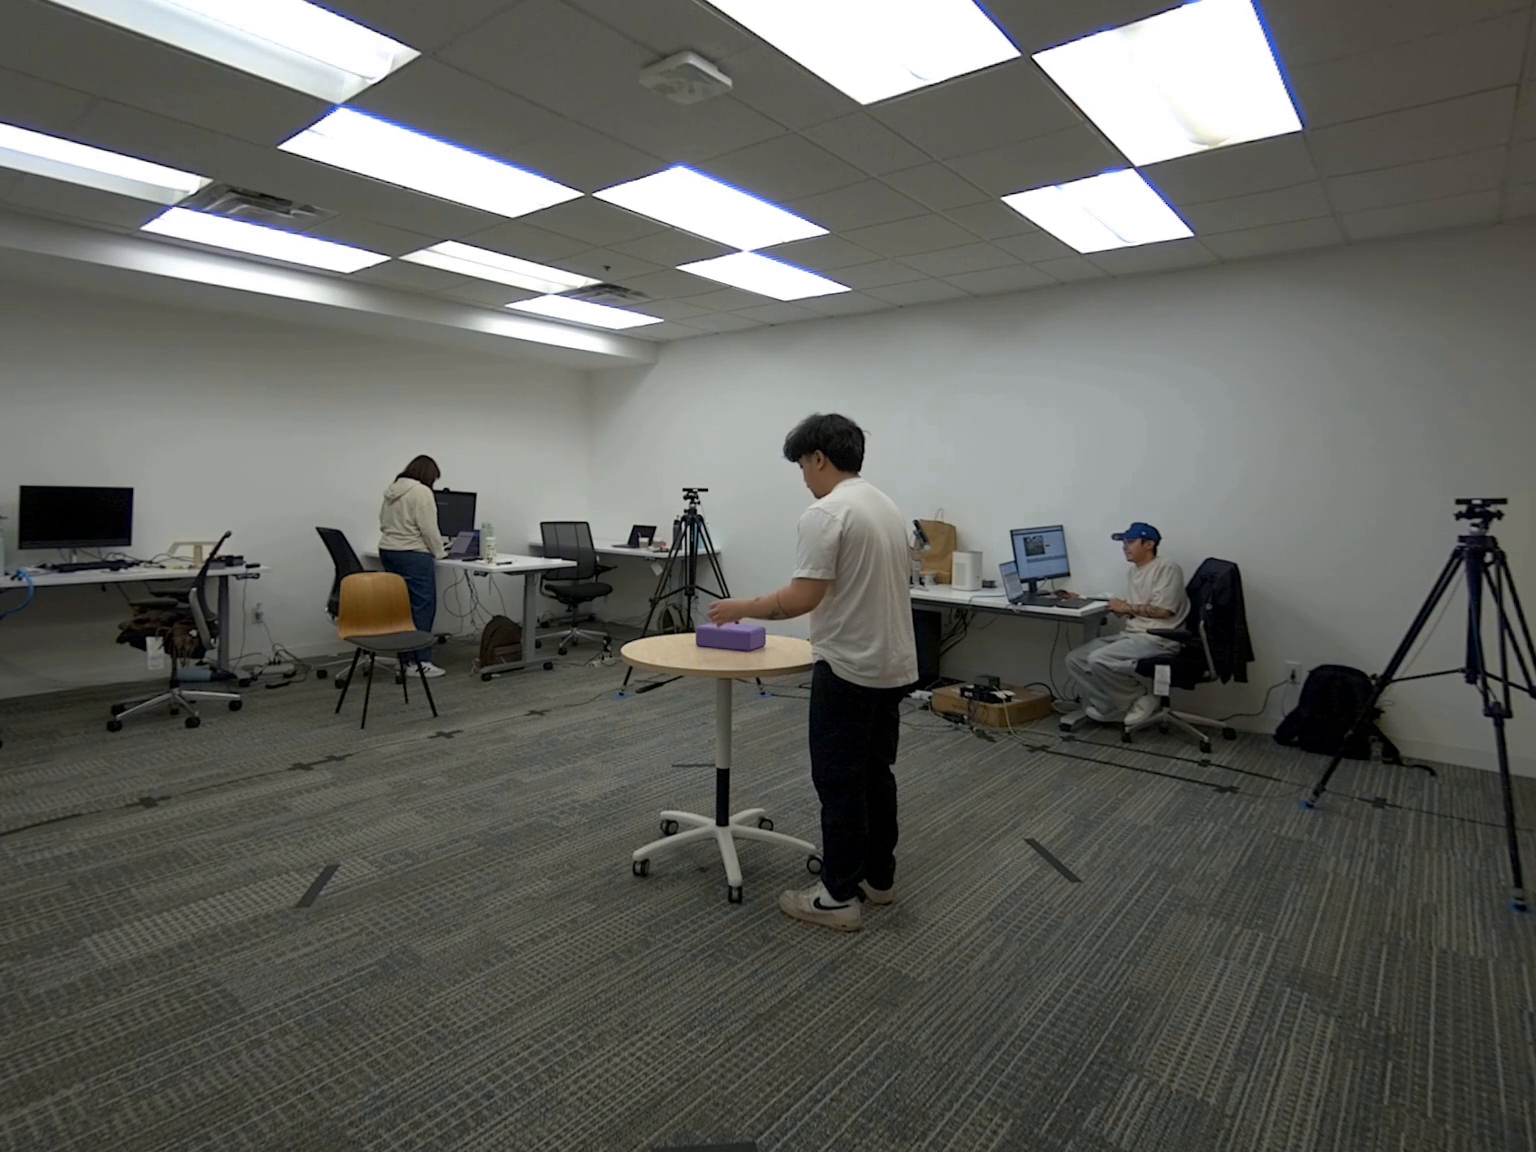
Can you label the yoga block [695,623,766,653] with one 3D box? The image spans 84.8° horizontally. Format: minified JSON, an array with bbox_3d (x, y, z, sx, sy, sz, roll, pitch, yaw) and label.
[{"bbox_3d":[-0.149,0.225,3.198,0.235,0.076,0.145,2,5,26],"label":"yoga block"}]
